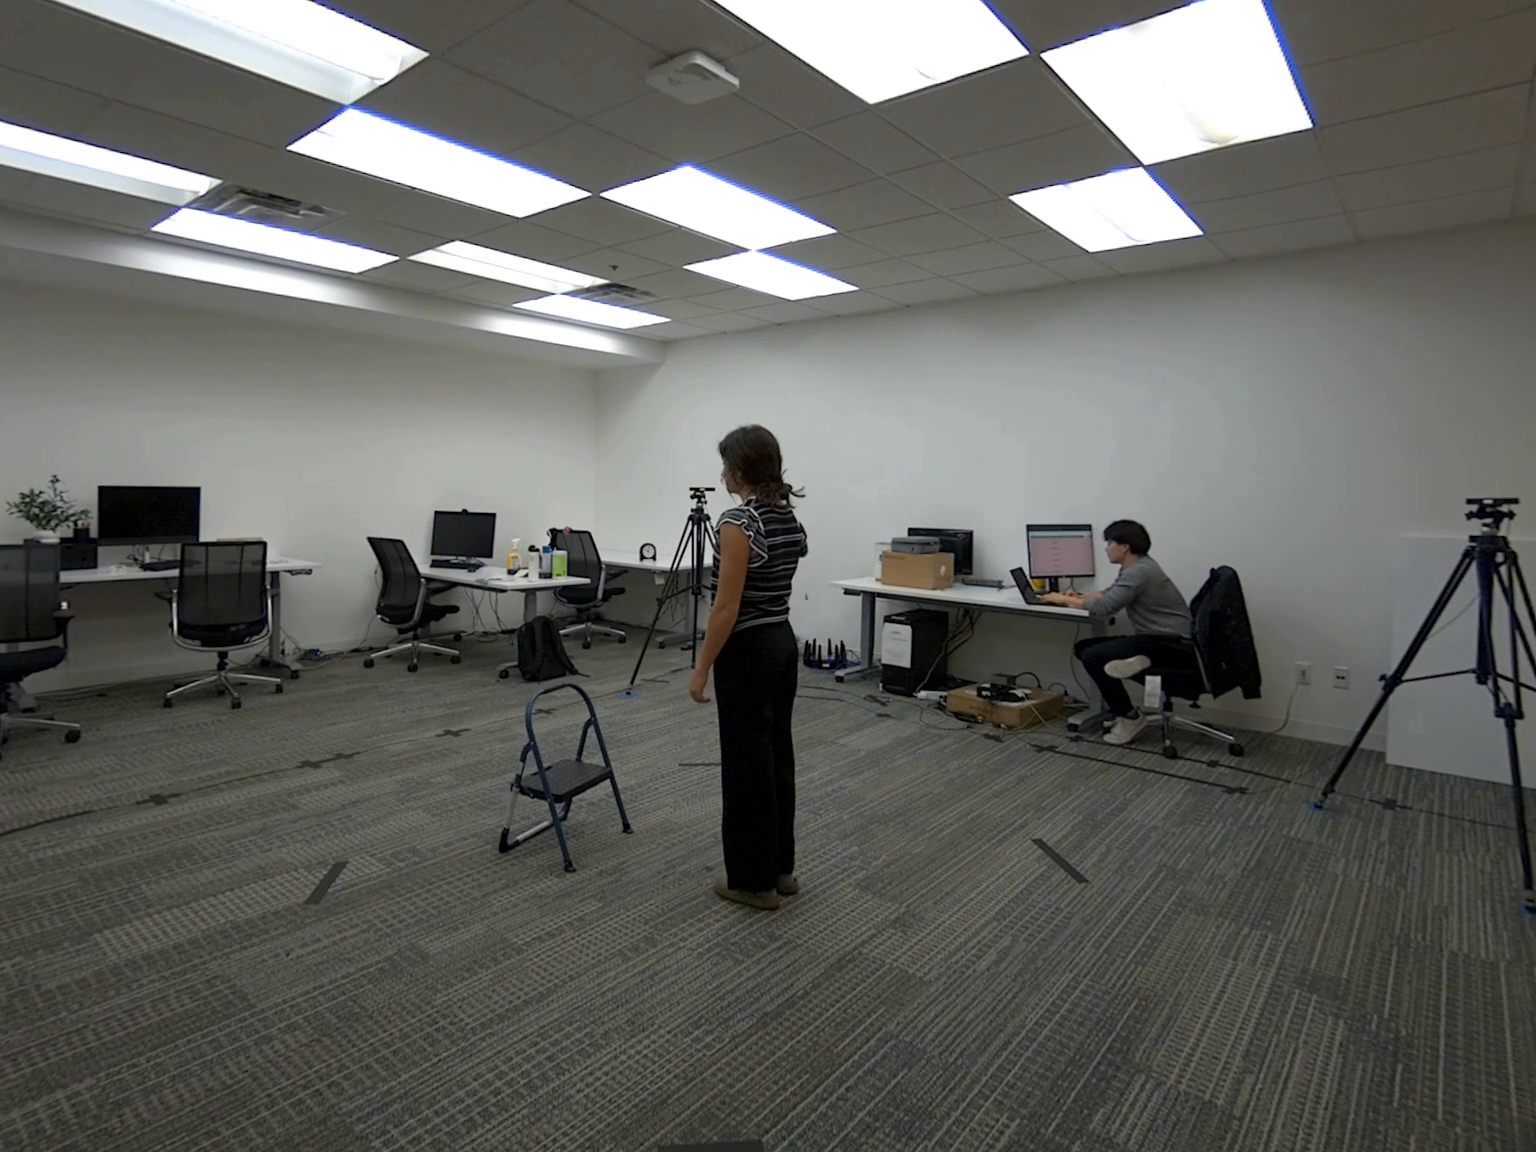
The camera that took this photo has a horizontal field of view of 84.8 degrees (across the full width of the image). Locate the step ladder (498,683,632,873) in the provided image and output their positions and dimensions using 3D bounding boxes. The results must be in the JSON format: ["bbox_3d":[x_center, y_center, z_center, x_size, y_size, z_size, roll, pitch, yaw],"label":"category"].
[{"bbox_3d":[-0.789,0.736,3.309,0.358,0.604,0.421,3,3,24],"label":"step ladder"}]
